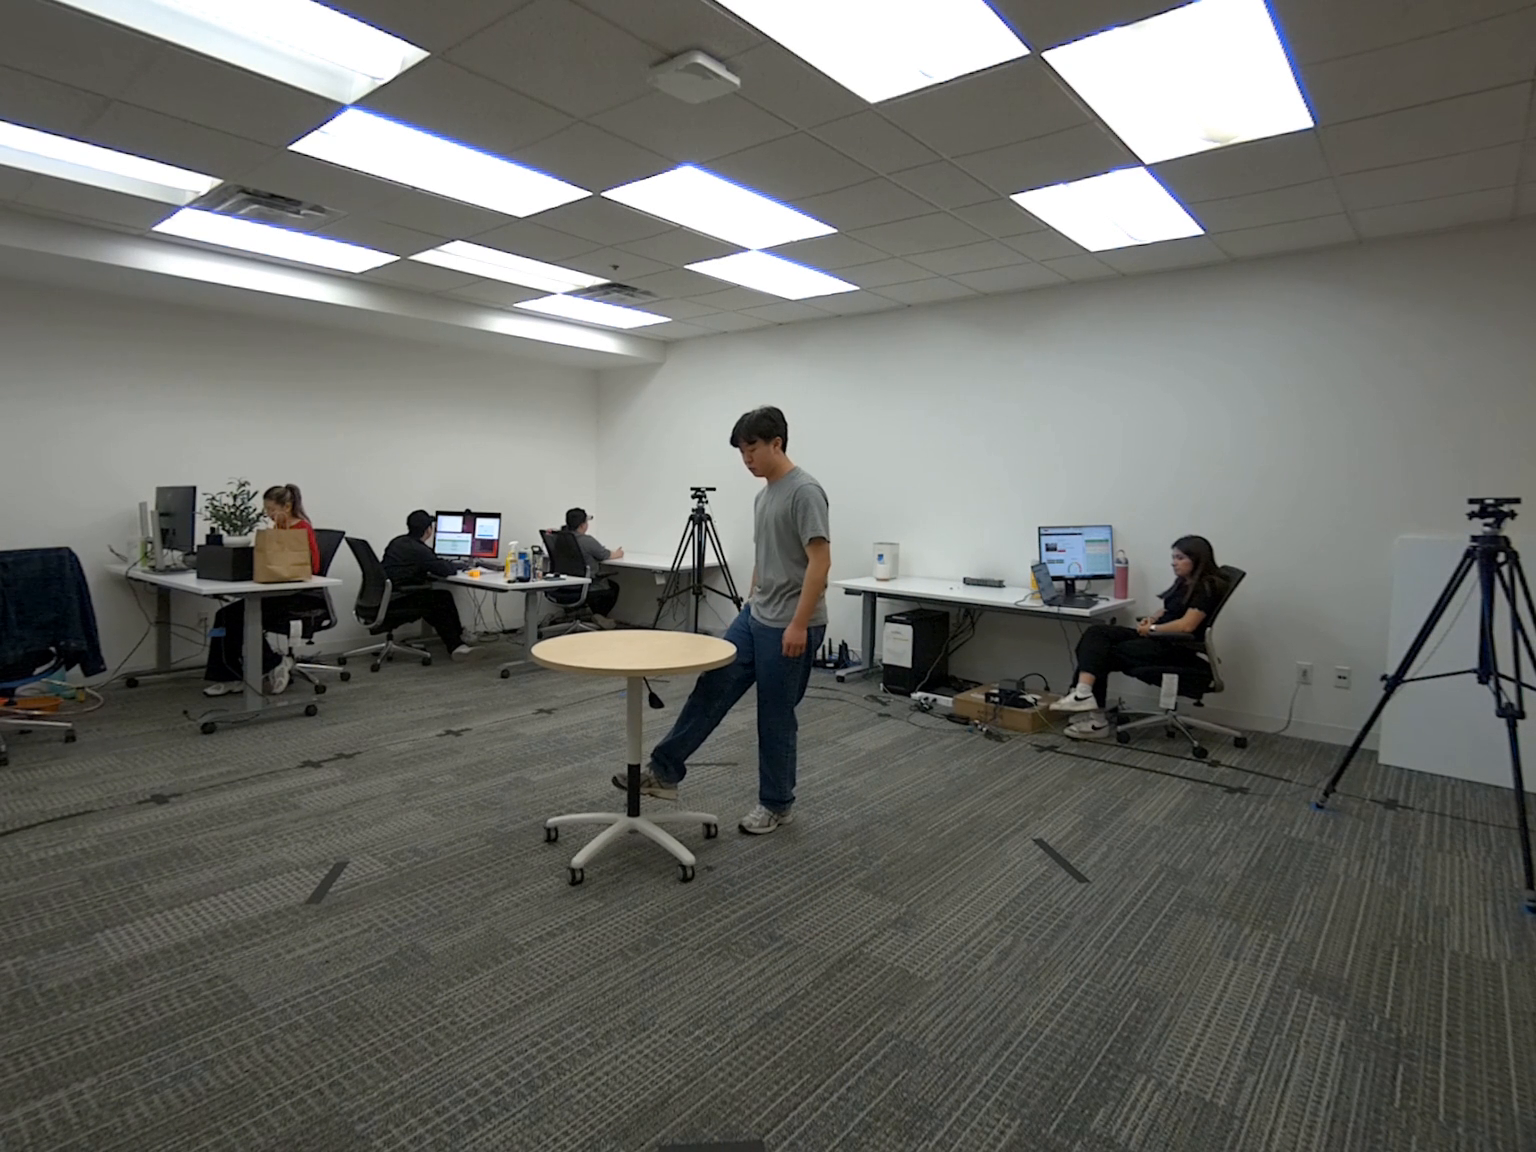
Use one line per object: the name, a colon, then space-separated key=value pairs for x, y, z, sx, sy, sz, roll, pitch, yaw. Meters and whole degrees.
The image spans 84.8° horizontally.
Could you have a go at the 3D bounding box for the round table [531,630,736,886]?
round table: x=-0.521 y=0.661 z=3.220 sx=0.763 sy=0.791 sz=0.767 roll=1 pitch=4 yaw=-2
